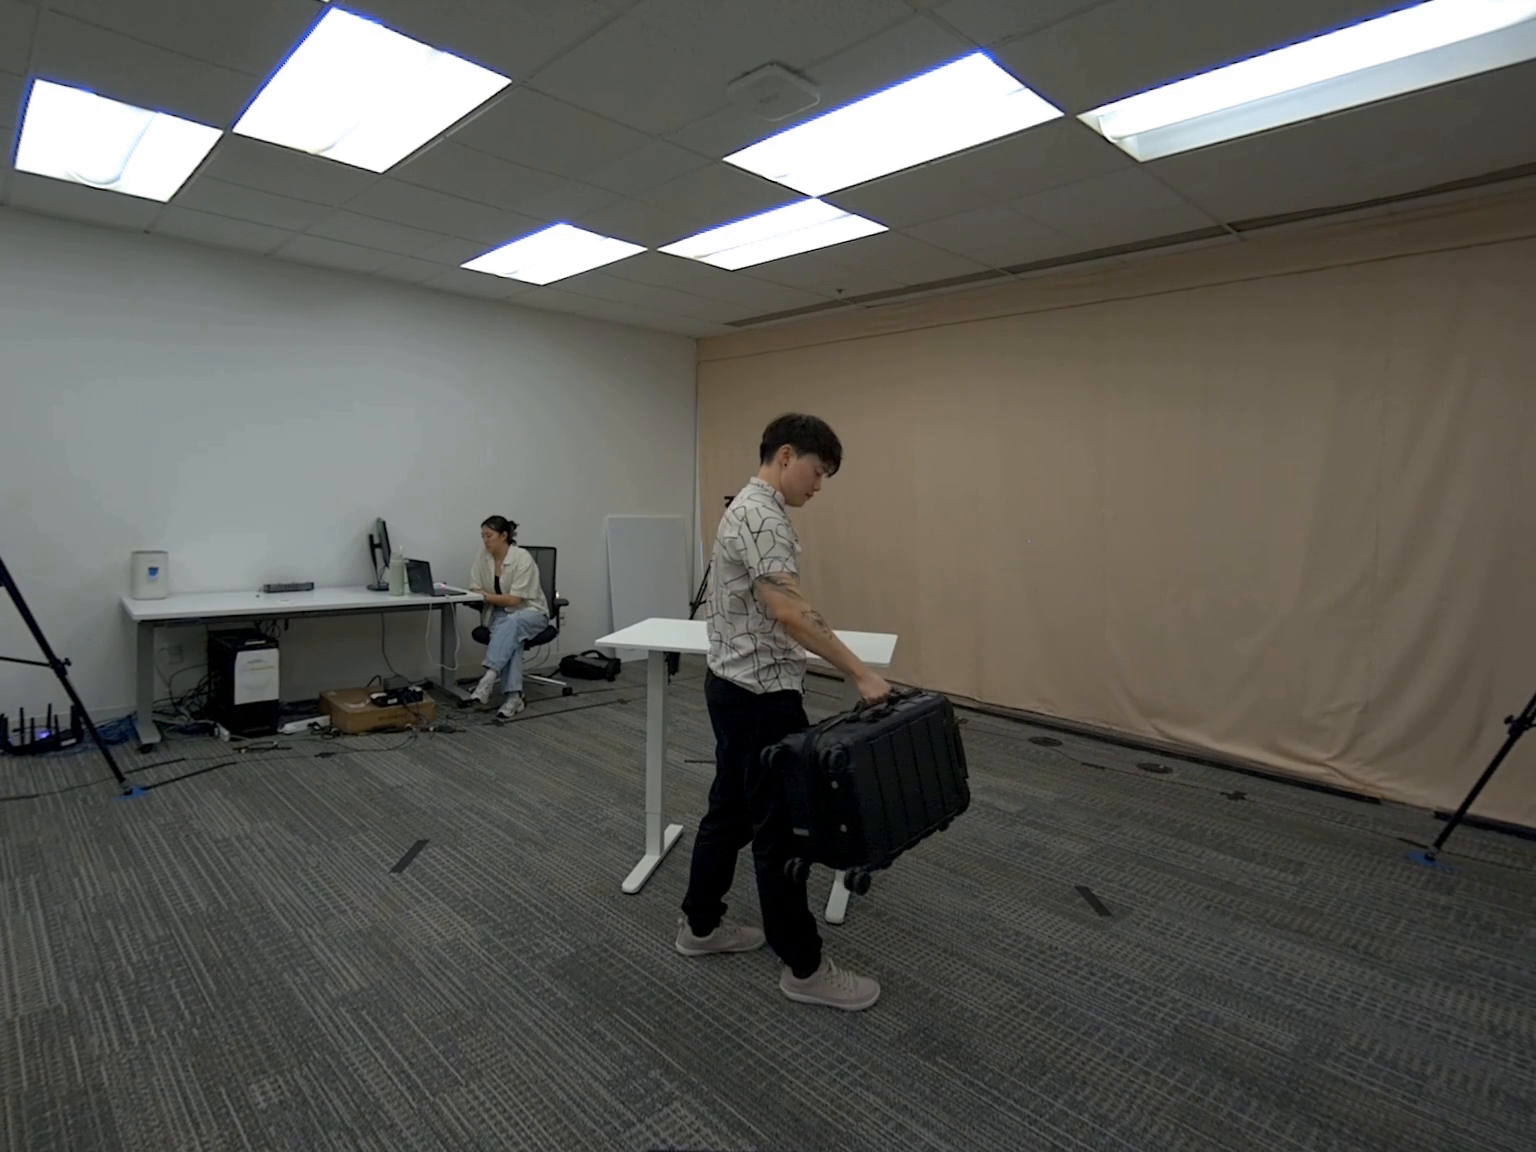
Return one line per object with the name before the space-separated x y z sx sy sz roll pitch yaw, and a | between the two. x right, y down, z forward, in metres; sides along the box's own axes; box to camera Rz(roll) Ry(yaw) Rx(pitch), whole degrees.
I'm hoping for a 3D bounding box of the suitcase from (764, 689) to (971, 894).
suitcase | 0.274 0.536 2.234 0.539 0.375 0.253 -13 0 -43
